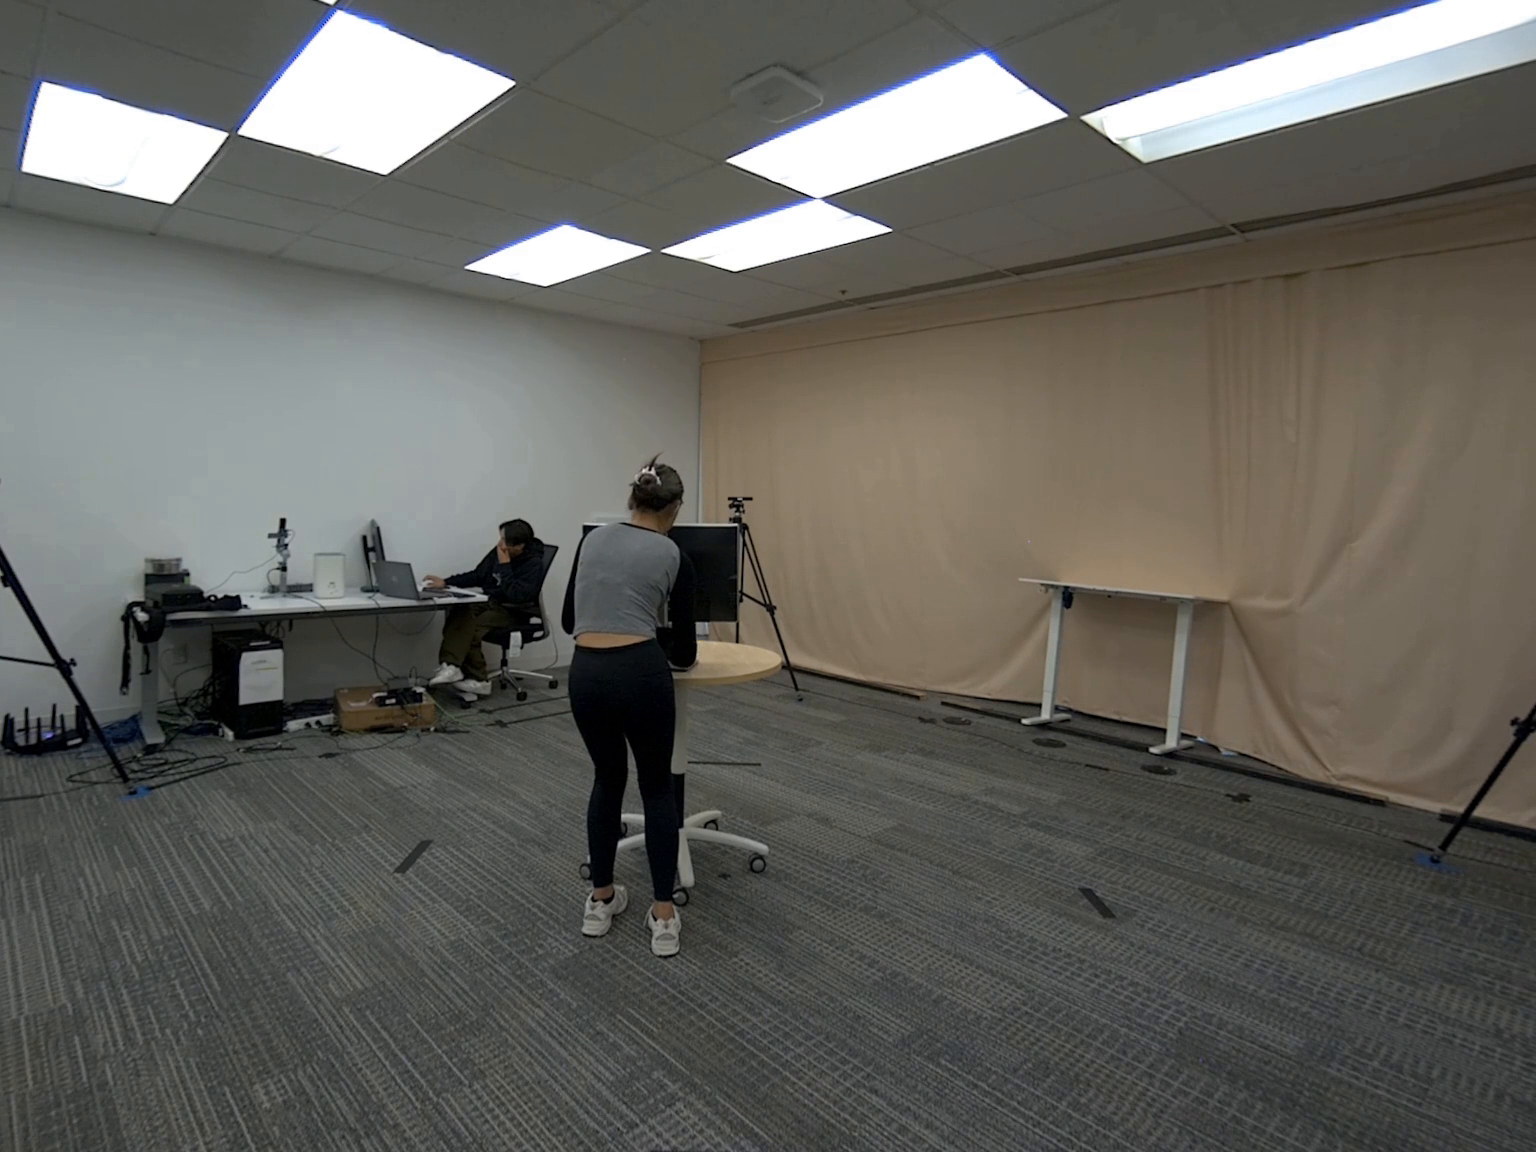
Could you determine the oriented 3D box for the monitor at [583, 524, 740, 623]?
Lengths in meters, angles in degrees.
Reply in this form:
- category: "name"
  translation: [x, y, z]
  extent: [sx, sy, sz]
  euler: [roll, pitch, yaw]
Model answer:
- category: "monitor"
  translation: [-0.379, 0.080, 2.987]
  extent: [0.539, 0.521, 0.187]
  euler: [1, 3, 1]
